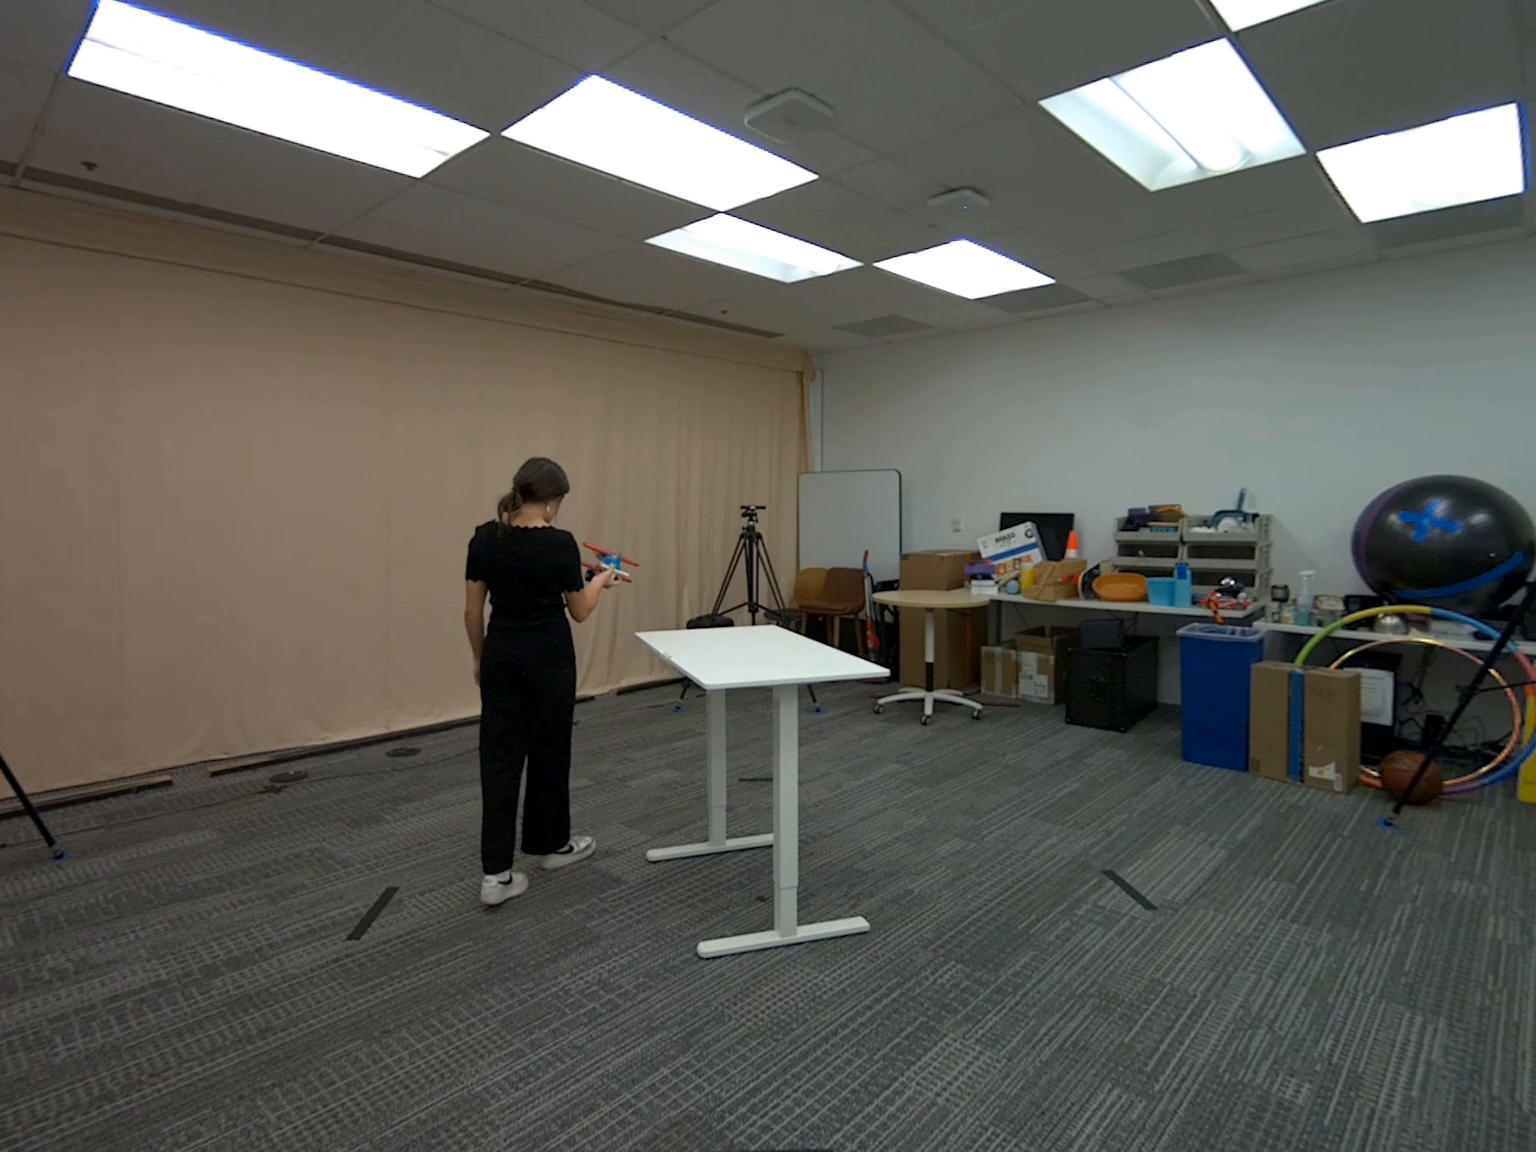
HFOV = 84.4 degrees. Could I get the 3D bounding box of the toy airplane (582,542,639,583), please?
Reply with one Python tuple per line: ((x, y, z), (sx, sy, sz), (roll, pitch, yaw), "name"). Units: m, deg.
((-0.650, -0.033, 3.520), (0.268, 0.157, 0.242), (6, -16, 38), "toy airplane")
